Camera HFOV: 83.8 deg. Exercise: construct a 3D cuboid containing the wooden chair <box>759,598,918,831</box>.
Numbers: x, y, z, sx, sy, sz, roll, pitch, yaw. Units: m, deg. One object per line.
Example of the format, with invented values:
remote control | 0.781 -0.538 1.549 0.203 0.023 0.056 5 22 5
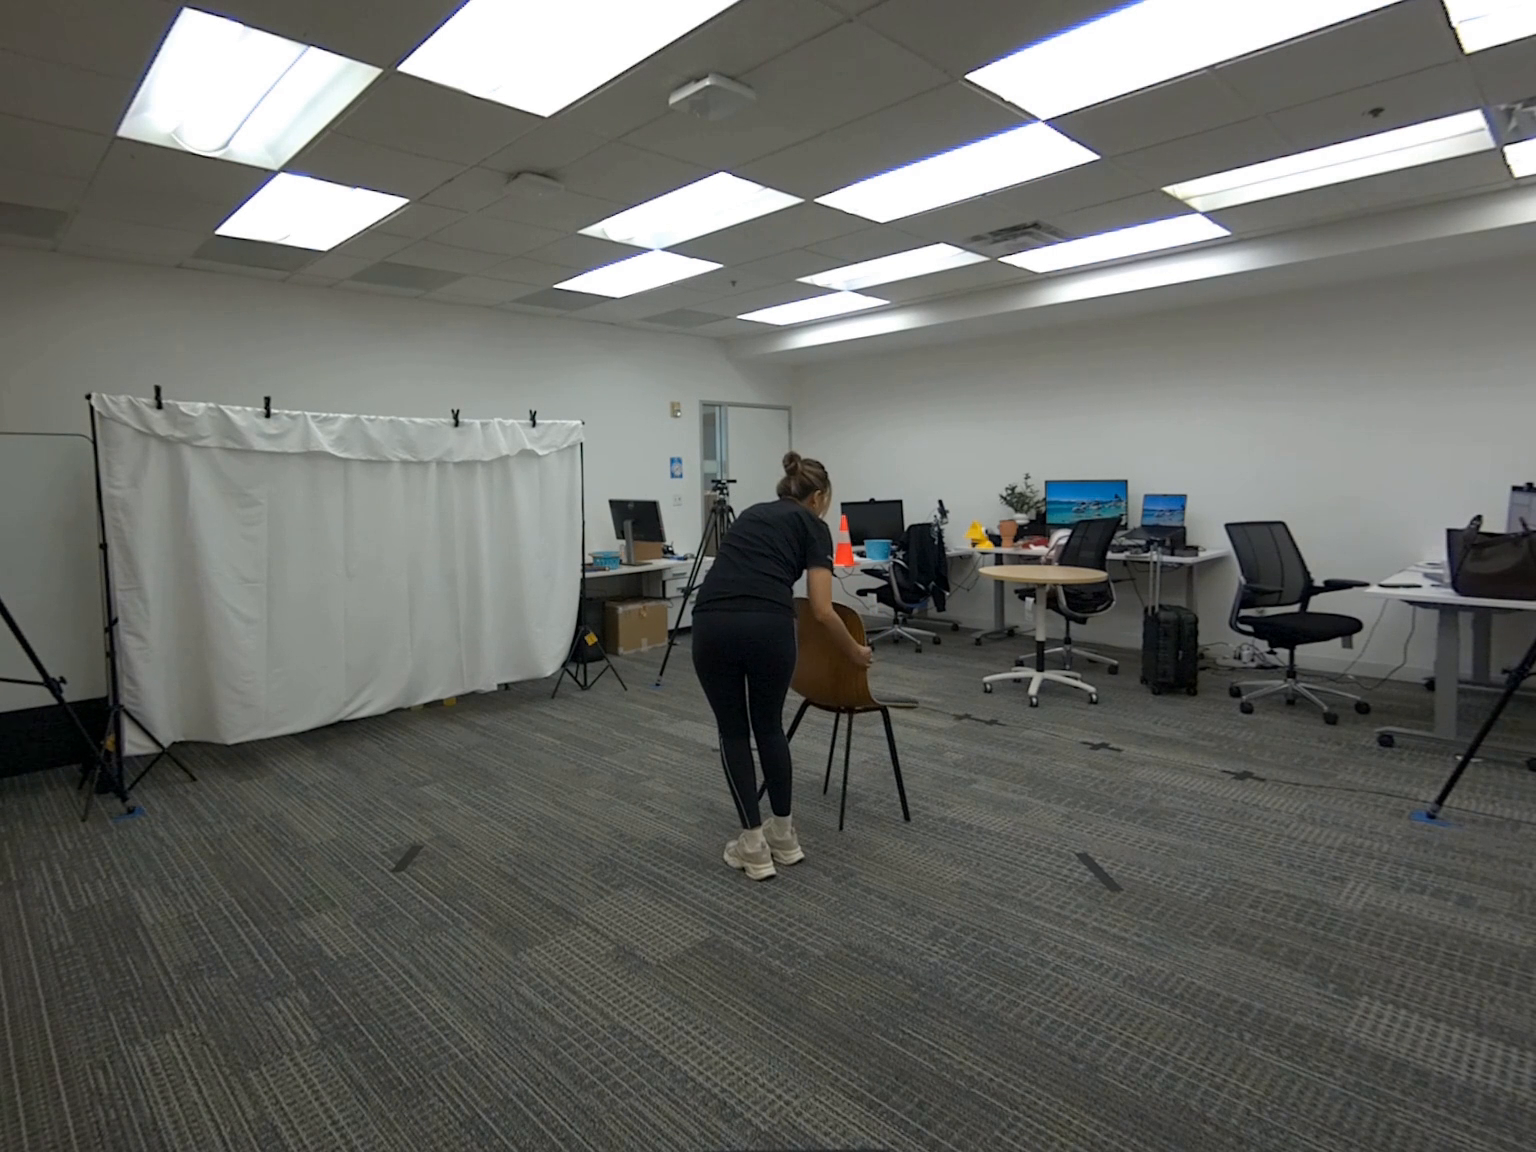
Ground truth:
wooden chair | 0.314 0.534 3.510 0.493 0.878 0.507 3 -1 45
